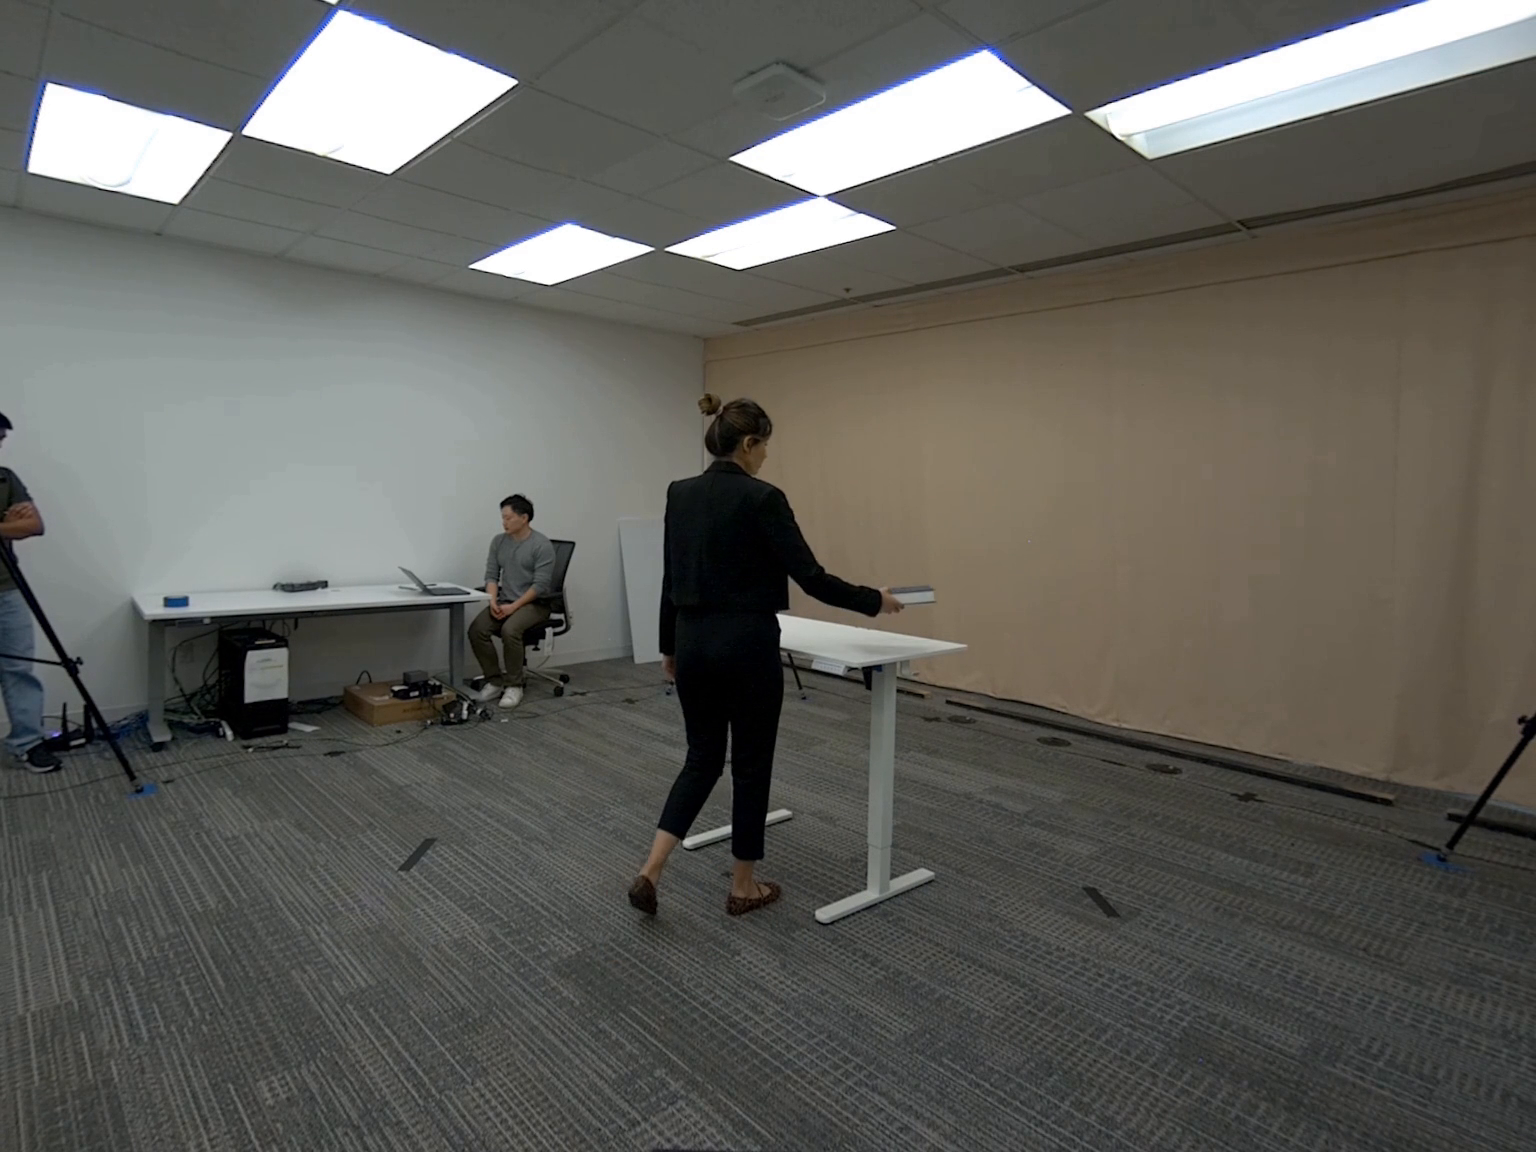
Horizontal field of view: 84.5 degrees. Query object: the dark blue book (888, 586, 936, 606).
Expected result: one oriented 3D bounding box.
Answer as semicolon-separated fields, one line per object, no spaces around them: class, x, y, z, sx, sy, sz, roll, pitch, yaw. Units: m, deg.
dark blue book;0.427;0.069;2.857;0.245;0.045;0.164;-3;3;-2
